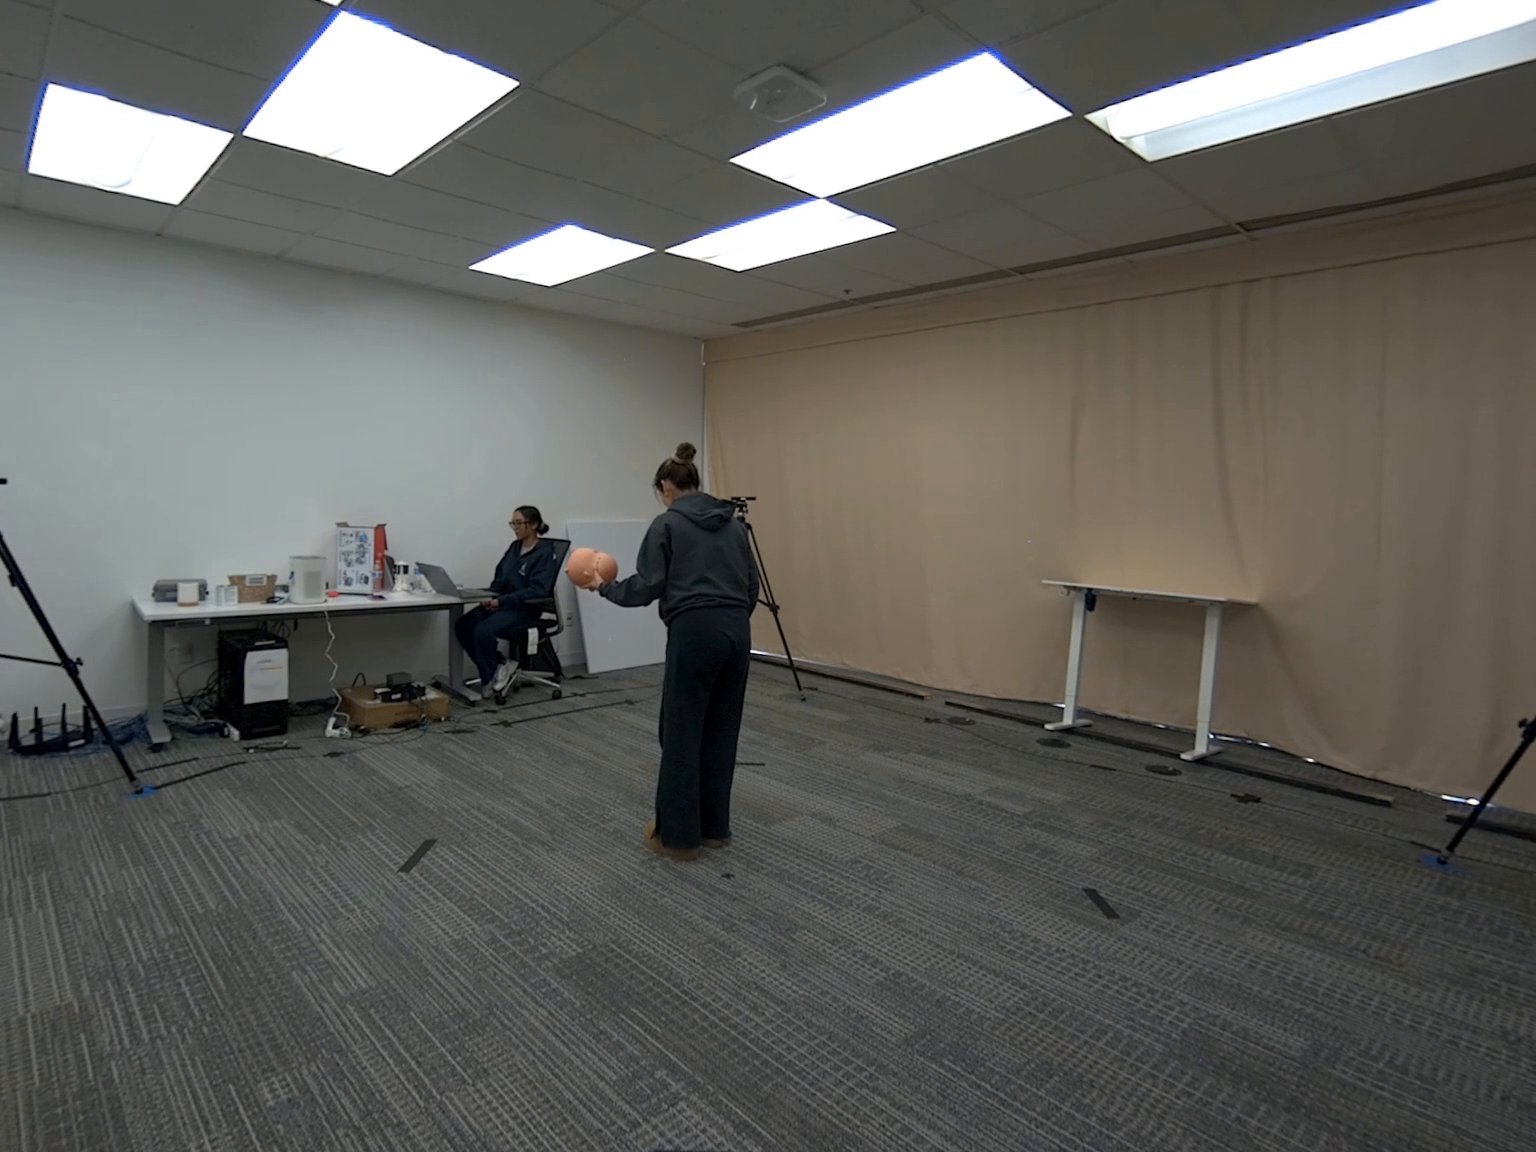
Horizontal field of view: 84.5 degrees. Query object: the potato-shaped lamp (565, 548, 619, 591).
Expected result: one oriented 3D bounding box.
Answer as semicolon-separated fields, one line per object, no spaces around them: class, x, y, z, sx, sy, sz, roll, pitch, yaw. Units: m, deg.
potato-shaped lamp;-0.730;-0.030;3.494;0.201;0.167;0.166;2;-33;19
